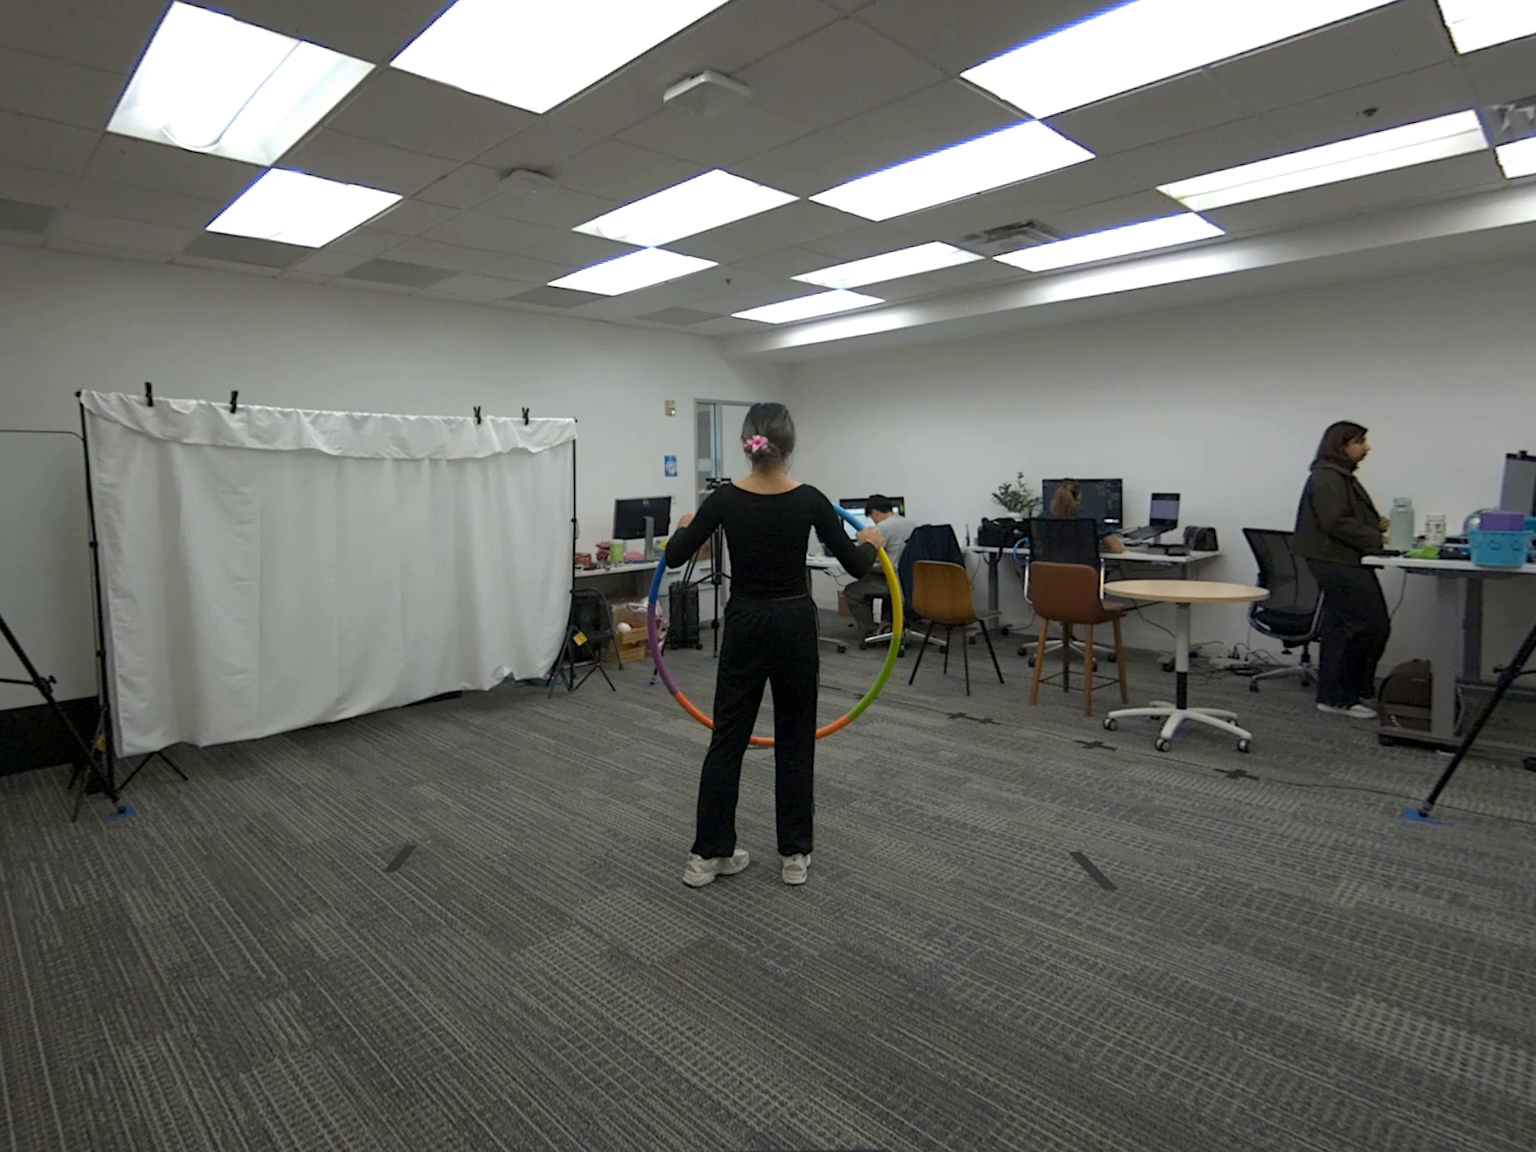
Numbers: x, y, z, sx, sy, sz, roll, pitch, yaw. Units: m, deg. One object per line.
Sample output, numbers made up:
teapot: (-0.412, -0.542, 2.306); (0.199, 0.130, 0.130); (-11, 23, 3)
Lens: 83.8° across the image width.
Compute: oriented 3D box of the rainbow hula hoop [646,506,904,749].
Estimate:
rainbow hula hoop: (0.017, 0.168, 3.257); (0.985, 0.974, 0.035); (0, 5, 6)
